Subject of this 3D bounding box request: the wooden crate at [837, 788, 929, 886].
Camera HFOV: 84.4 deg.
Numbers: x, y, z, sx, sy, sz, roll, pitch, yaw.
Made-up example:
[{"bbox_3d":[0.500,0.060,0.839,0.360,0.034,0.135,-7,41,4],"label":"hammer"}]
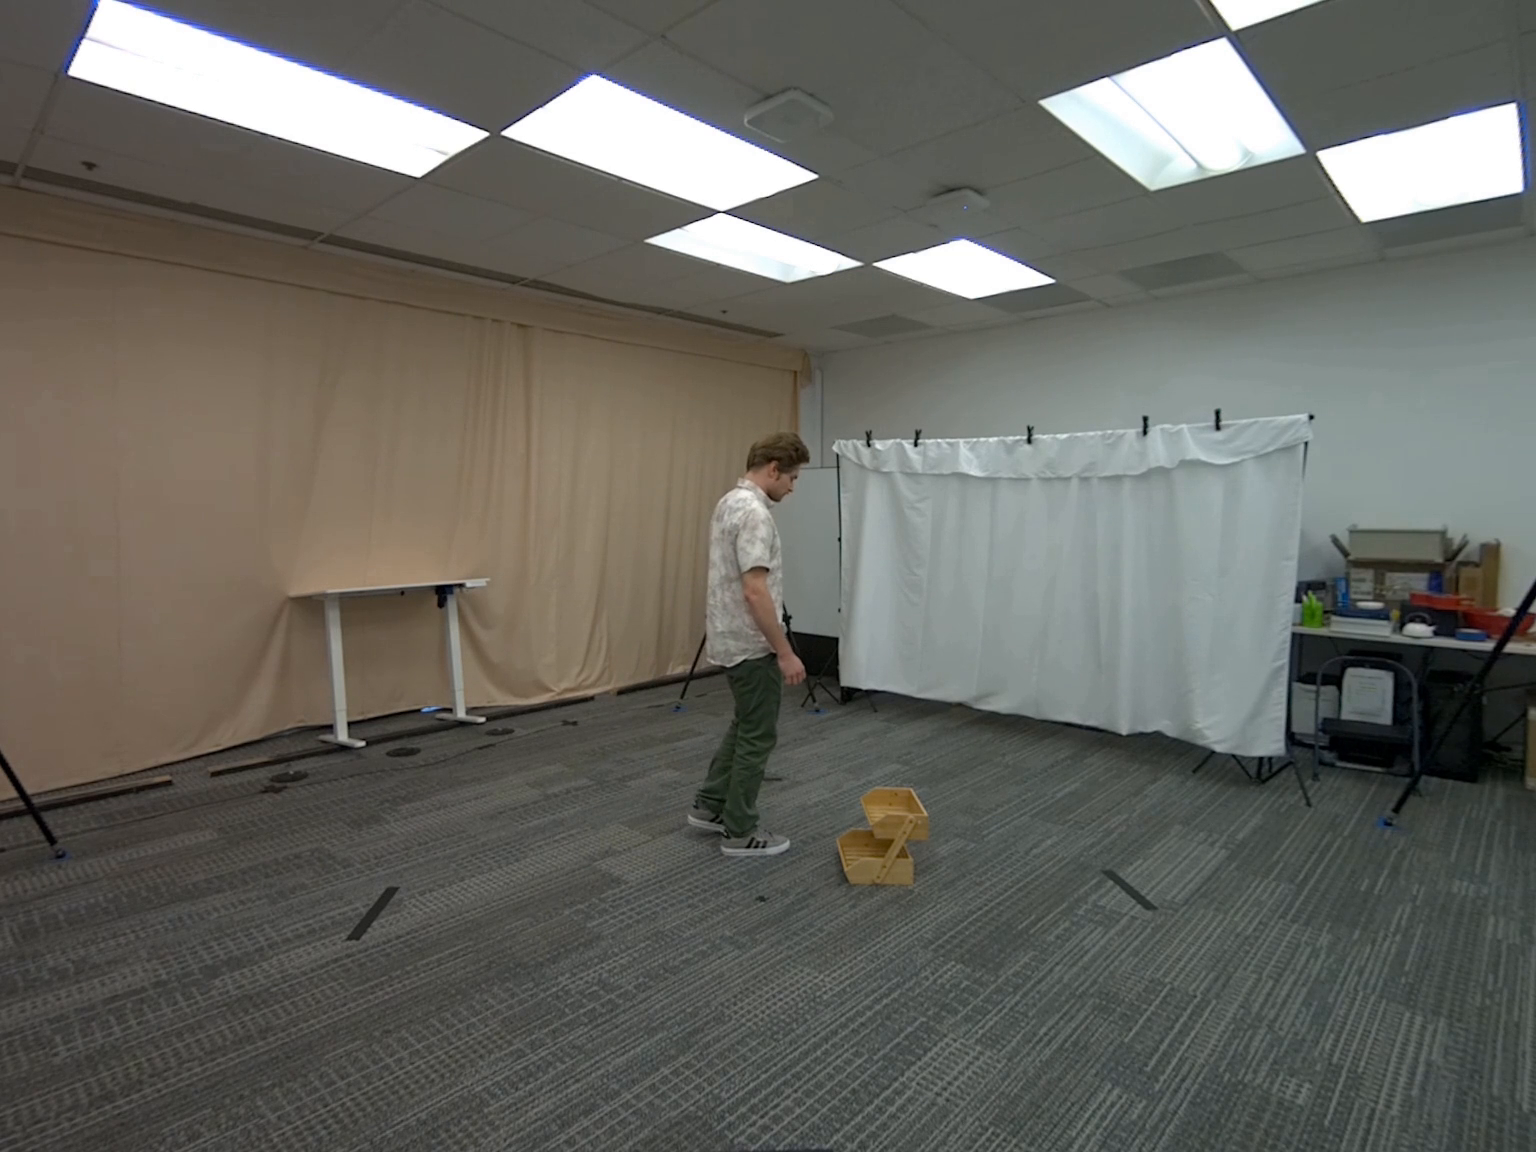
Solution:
[{"bbox_3d":[0.432,0.986,3.236,0.302,0.273,0.325,1,4,0],"label":"wooden crate"}]
